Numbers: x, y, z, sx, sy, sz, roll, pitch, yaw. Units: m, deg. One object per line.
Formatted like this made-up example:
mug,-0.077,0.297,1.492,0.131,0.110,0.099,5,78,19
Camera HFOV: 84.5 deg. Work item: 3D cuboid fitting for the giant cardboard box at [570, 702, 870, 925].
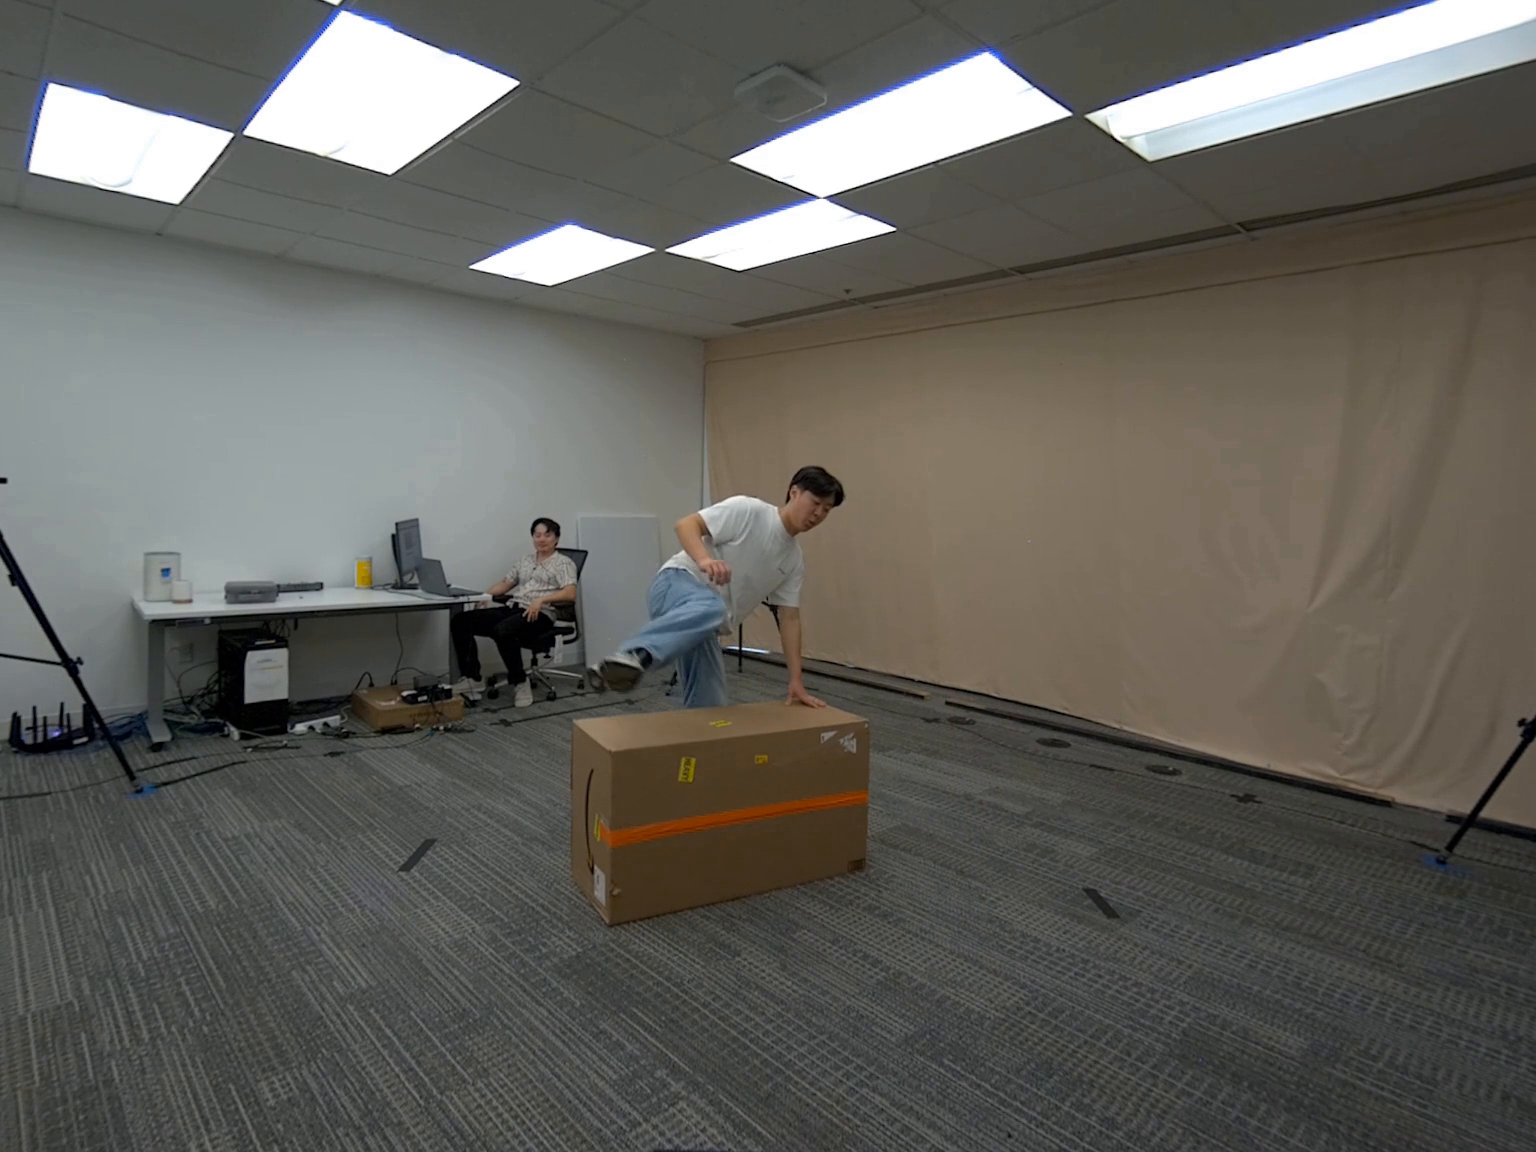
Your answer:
giant cardboard box,-0.172,0.818,3.105,1.006,0.576,0.435,-1,3,-28
